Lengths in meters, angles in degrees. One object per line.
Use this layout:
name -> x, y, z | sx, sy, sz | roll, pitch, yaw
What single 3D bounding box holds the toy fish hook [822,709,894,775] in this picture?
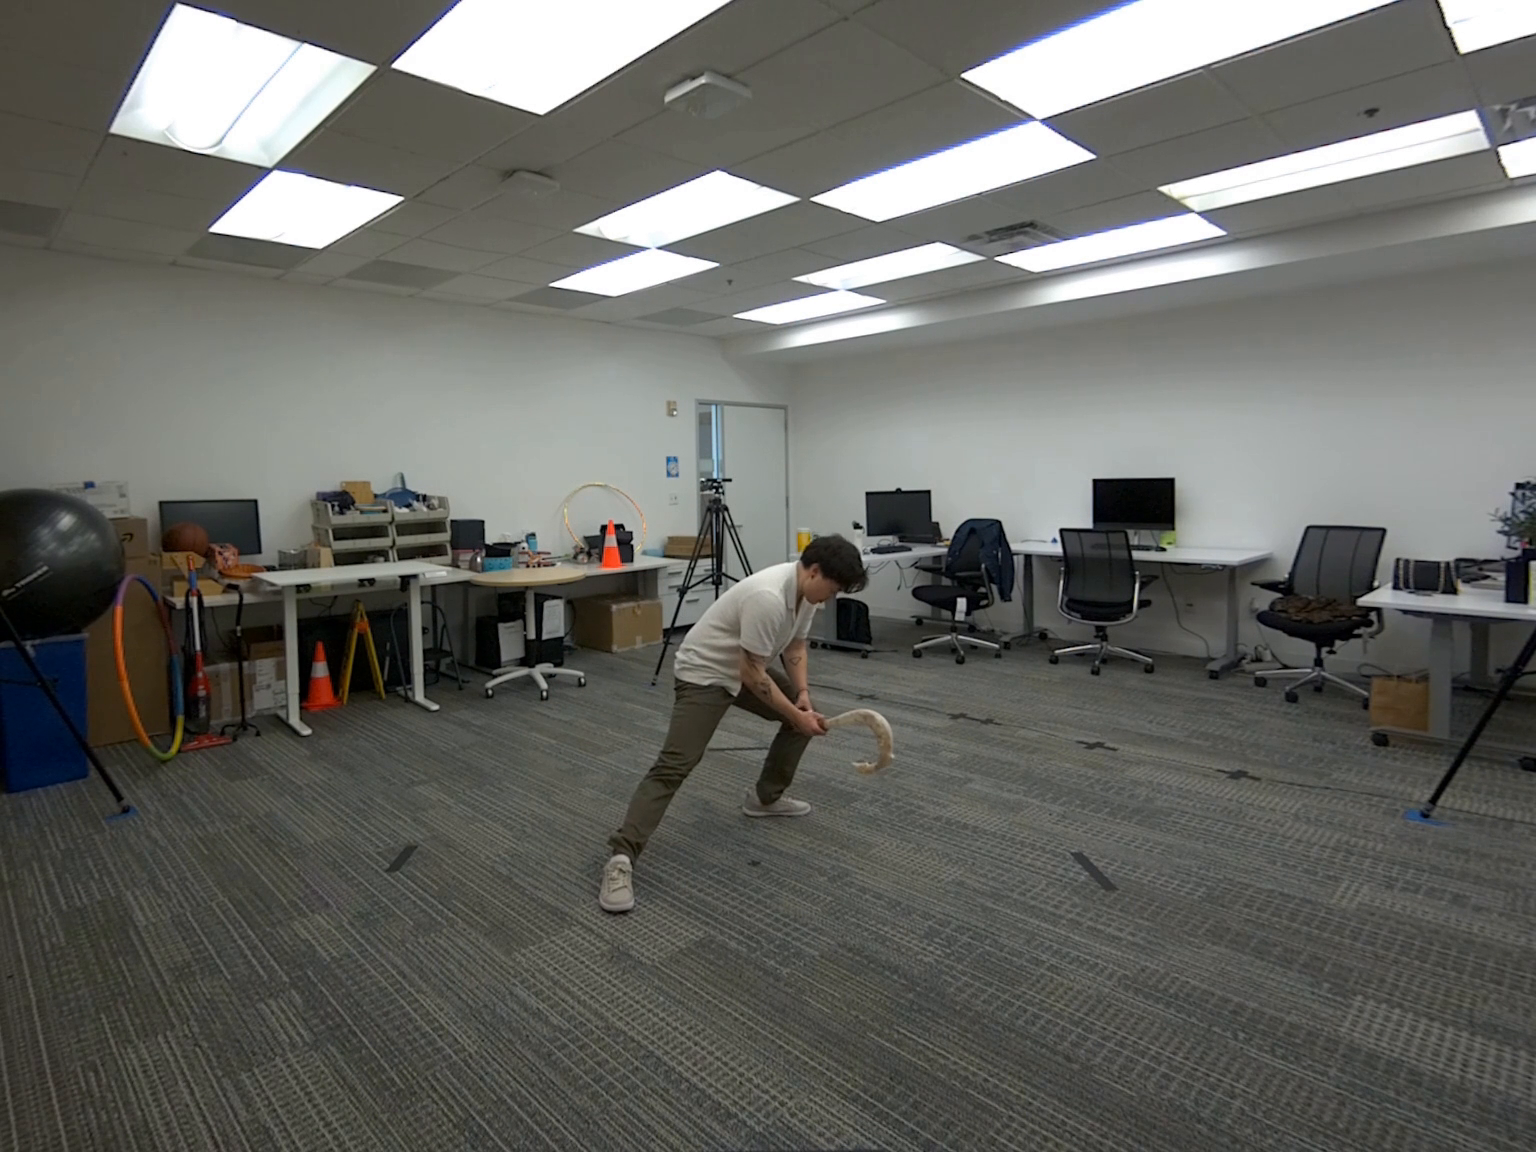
toy fish hook -> 0.258, 0.594, 3.083 | 0.047, 0.226, 0.518 | 5, -9, -38
